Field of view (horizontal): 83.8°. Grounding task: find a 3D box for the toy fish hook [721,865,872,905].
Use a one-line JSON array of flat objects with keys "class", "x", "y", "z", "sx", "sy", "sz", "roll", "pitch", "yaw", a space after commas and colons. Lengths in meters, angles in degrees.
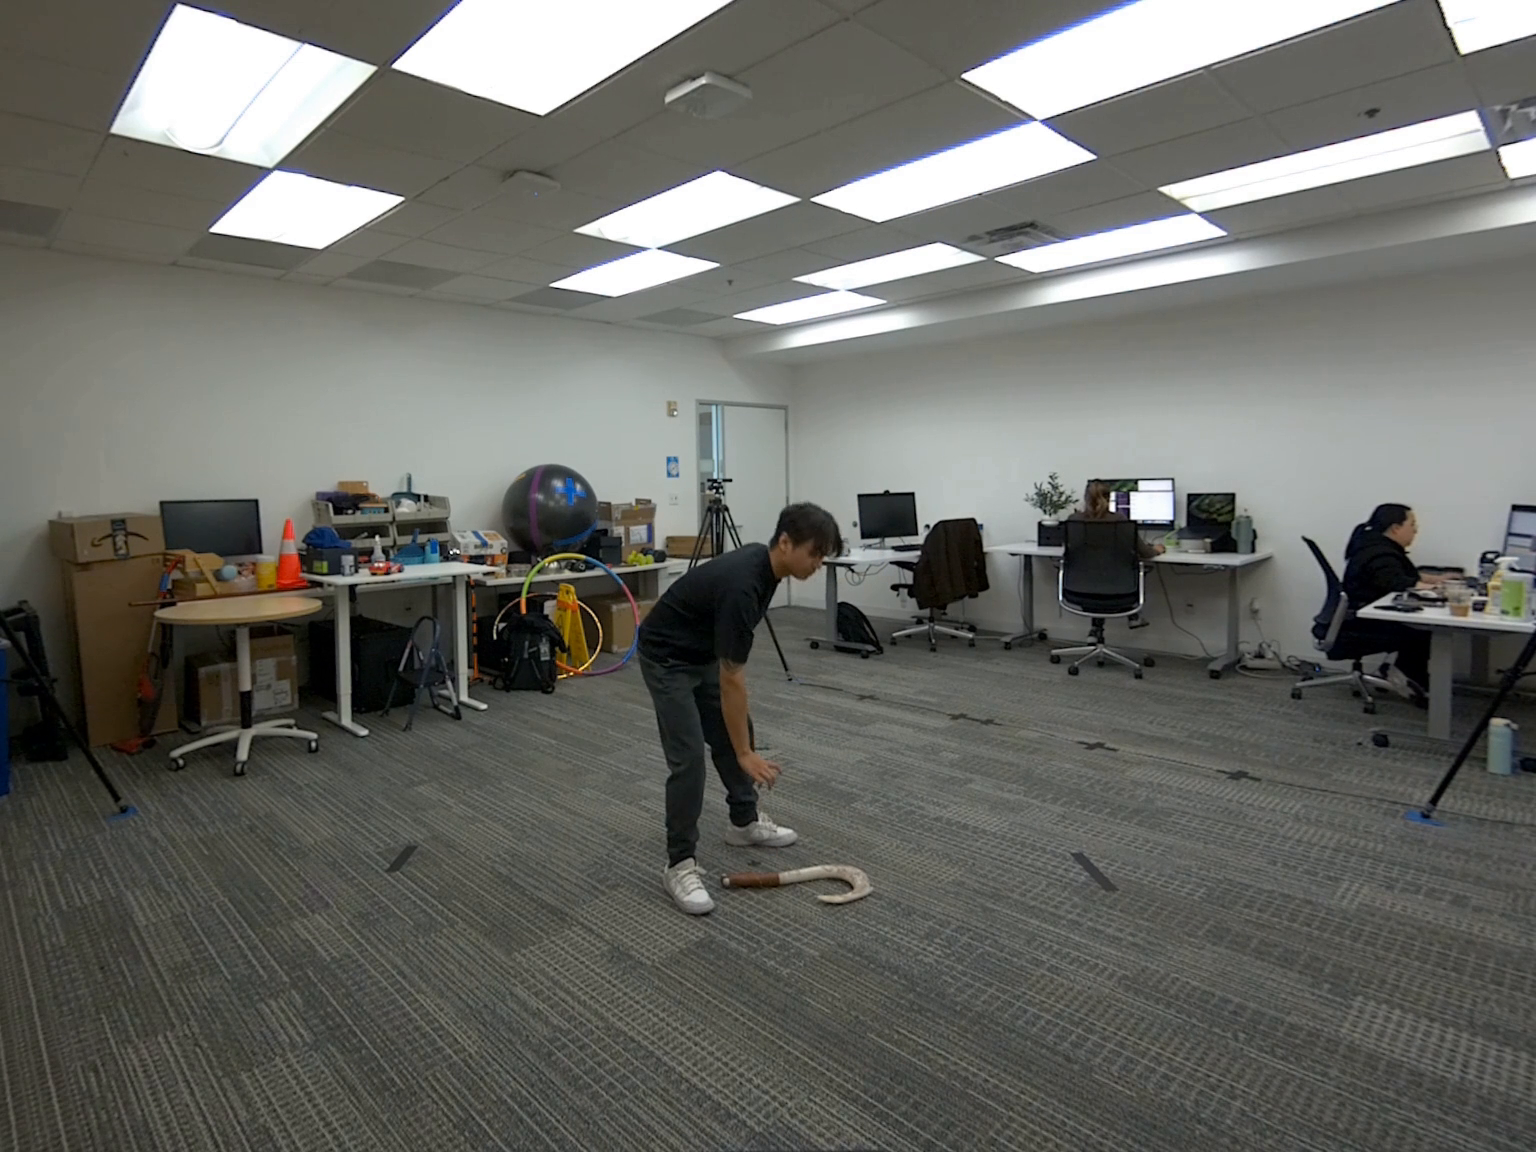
[{"class": "toy fish hook", "x": 0.097, "y": 1.039, "z": 2.889, "sx": 0.505, "sy": 0.048, "sz": 0.226, "roll": -1, "pitch": 4, "yaw": -4}]
